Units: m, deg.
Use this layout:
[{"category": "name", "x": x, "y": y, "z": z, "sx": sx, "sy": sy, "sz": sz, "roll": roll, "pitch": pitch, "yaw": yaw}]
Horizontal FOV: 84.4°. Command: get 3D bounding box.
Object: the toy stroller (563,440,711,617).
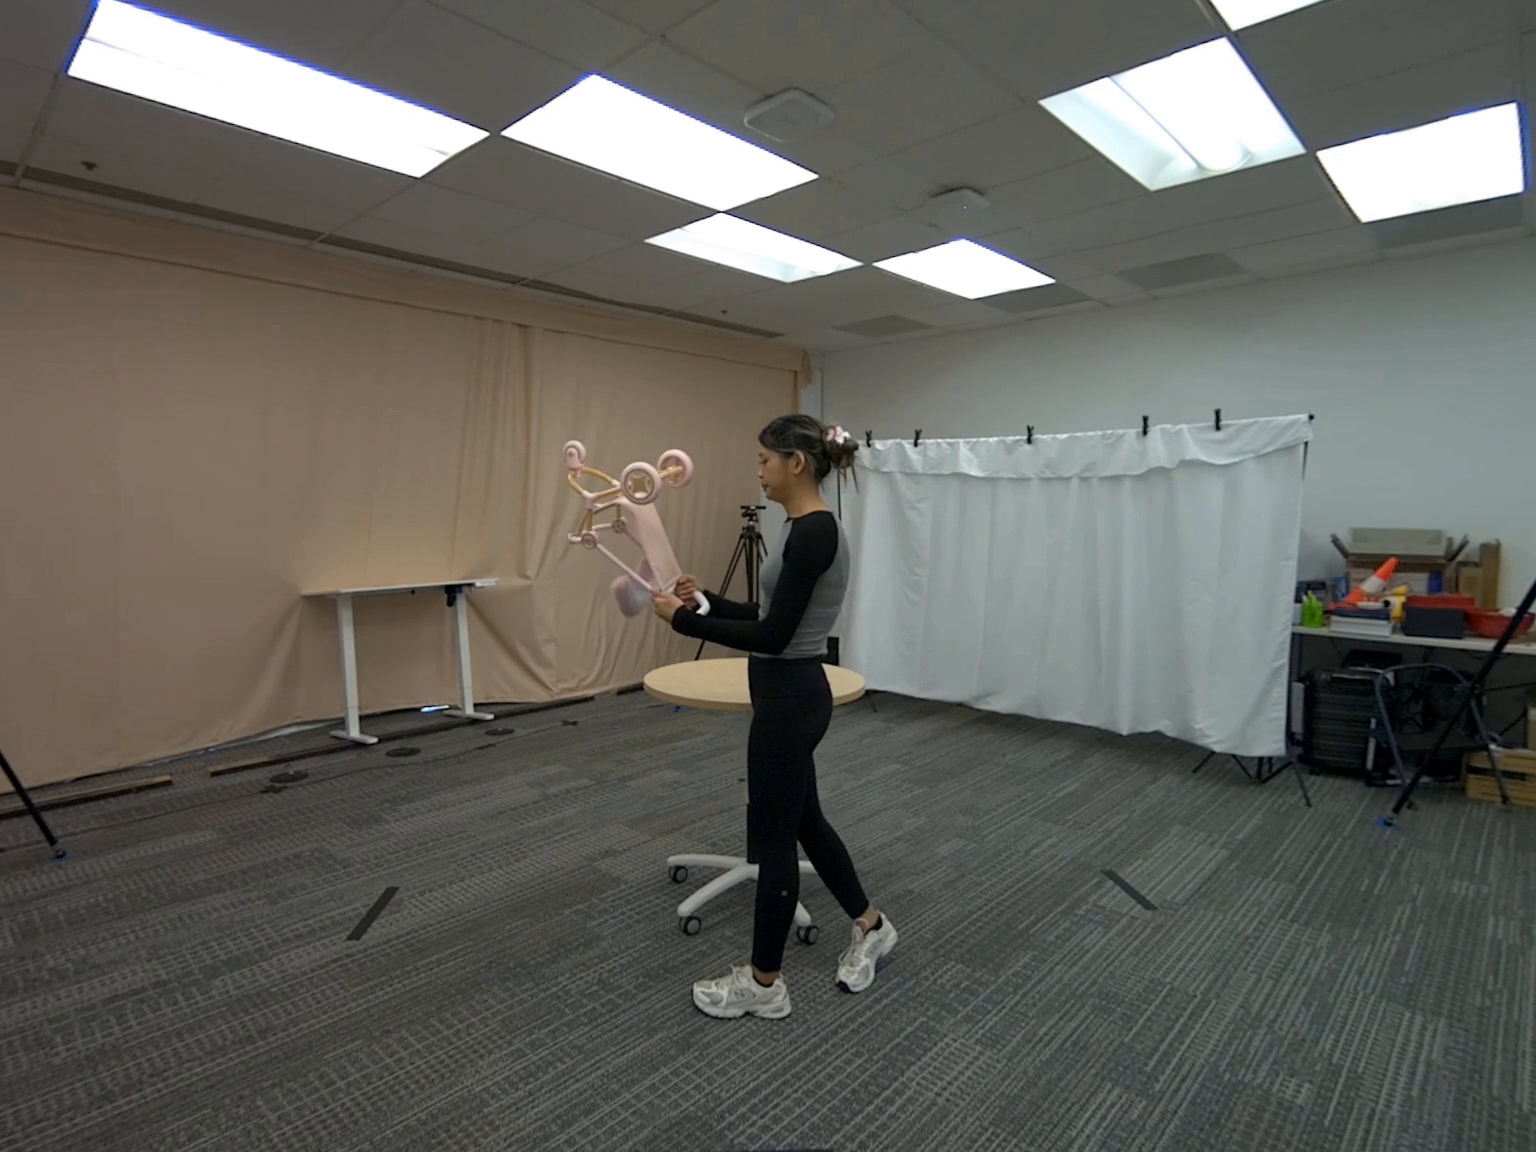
[{"category": "toy stroller", "x": -0.372, "y": -0.117, "z": 2.317, "sx": 0.346, "sy": 0.529, "sz": 0.281, "roll": -4, "pitch": 15, "yaw": 12}]
